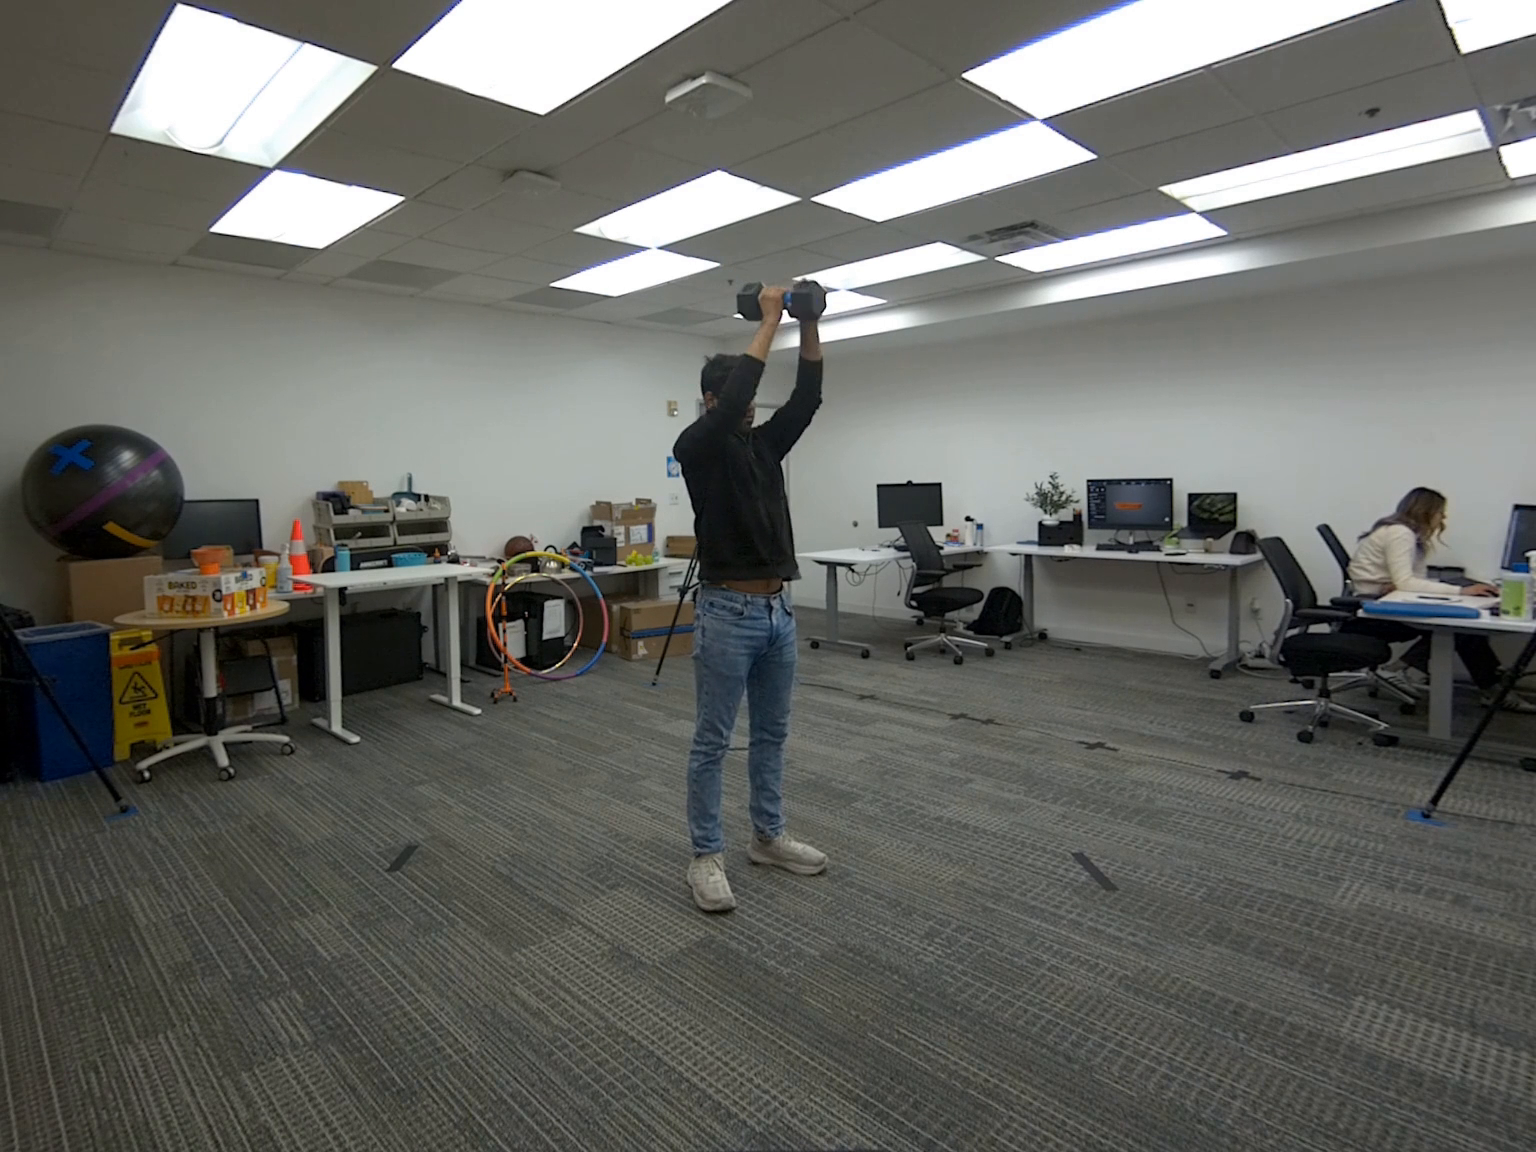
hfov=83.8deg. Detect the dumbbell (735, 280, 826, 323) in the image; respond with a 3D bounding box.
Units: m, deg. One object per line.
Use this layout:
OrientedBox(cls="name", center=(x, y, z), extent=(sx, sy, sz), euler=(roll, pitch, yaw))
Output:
OrientedBox(cls="dumbbell", center=(0.046, -0.869, 2.731), extent=(0.303, 0.109, 0.119), euler=(11, -2, 37))
